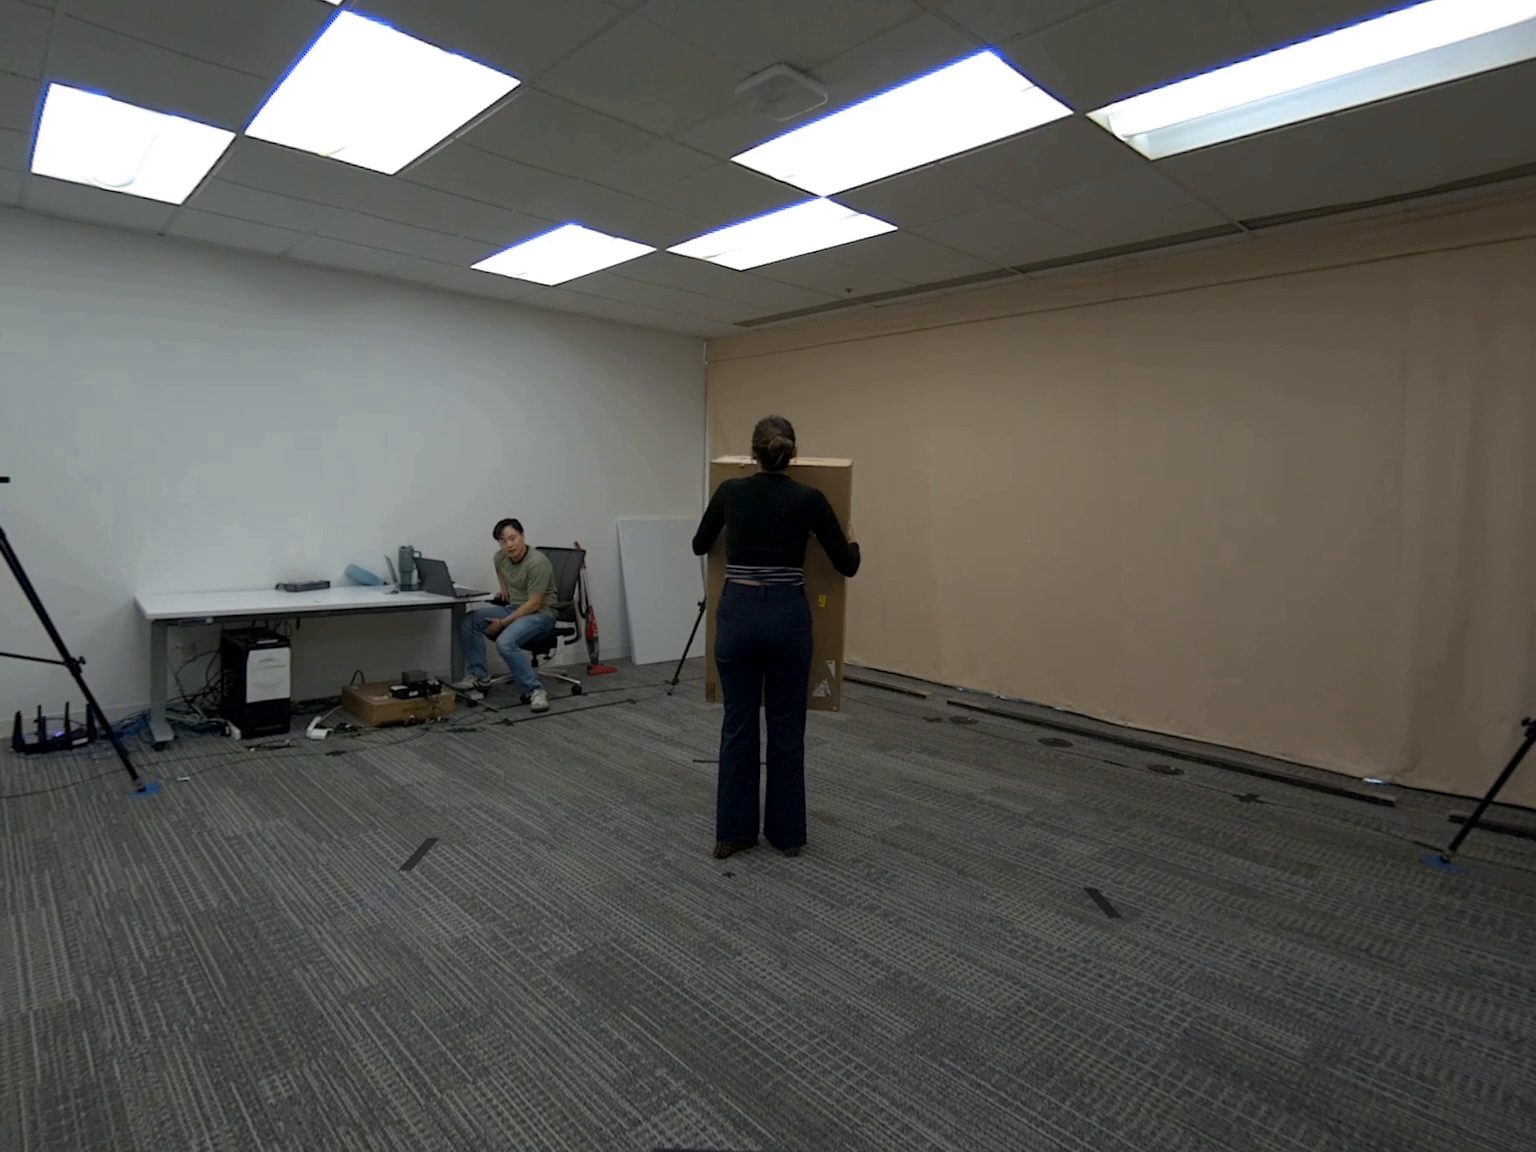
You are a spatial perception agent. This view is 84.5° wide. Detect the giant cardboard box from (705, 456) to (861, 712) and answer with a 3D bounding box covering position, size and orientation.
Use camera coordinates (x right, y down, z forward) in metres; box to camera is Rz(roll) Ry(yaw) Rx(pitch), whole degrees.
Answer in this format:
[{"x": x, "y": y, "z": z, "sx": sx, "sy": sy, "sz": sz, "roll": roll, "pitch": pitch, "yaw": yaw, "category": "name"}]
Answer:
[{"x": 0.045, "y": 0.010, "z": 3.651, "sx": 0.581, "sy": 1.019, "sz": 0.426, "roll": 3, "pitch": 9, "yaw": 8, "category": "giant cardboard box"}]
